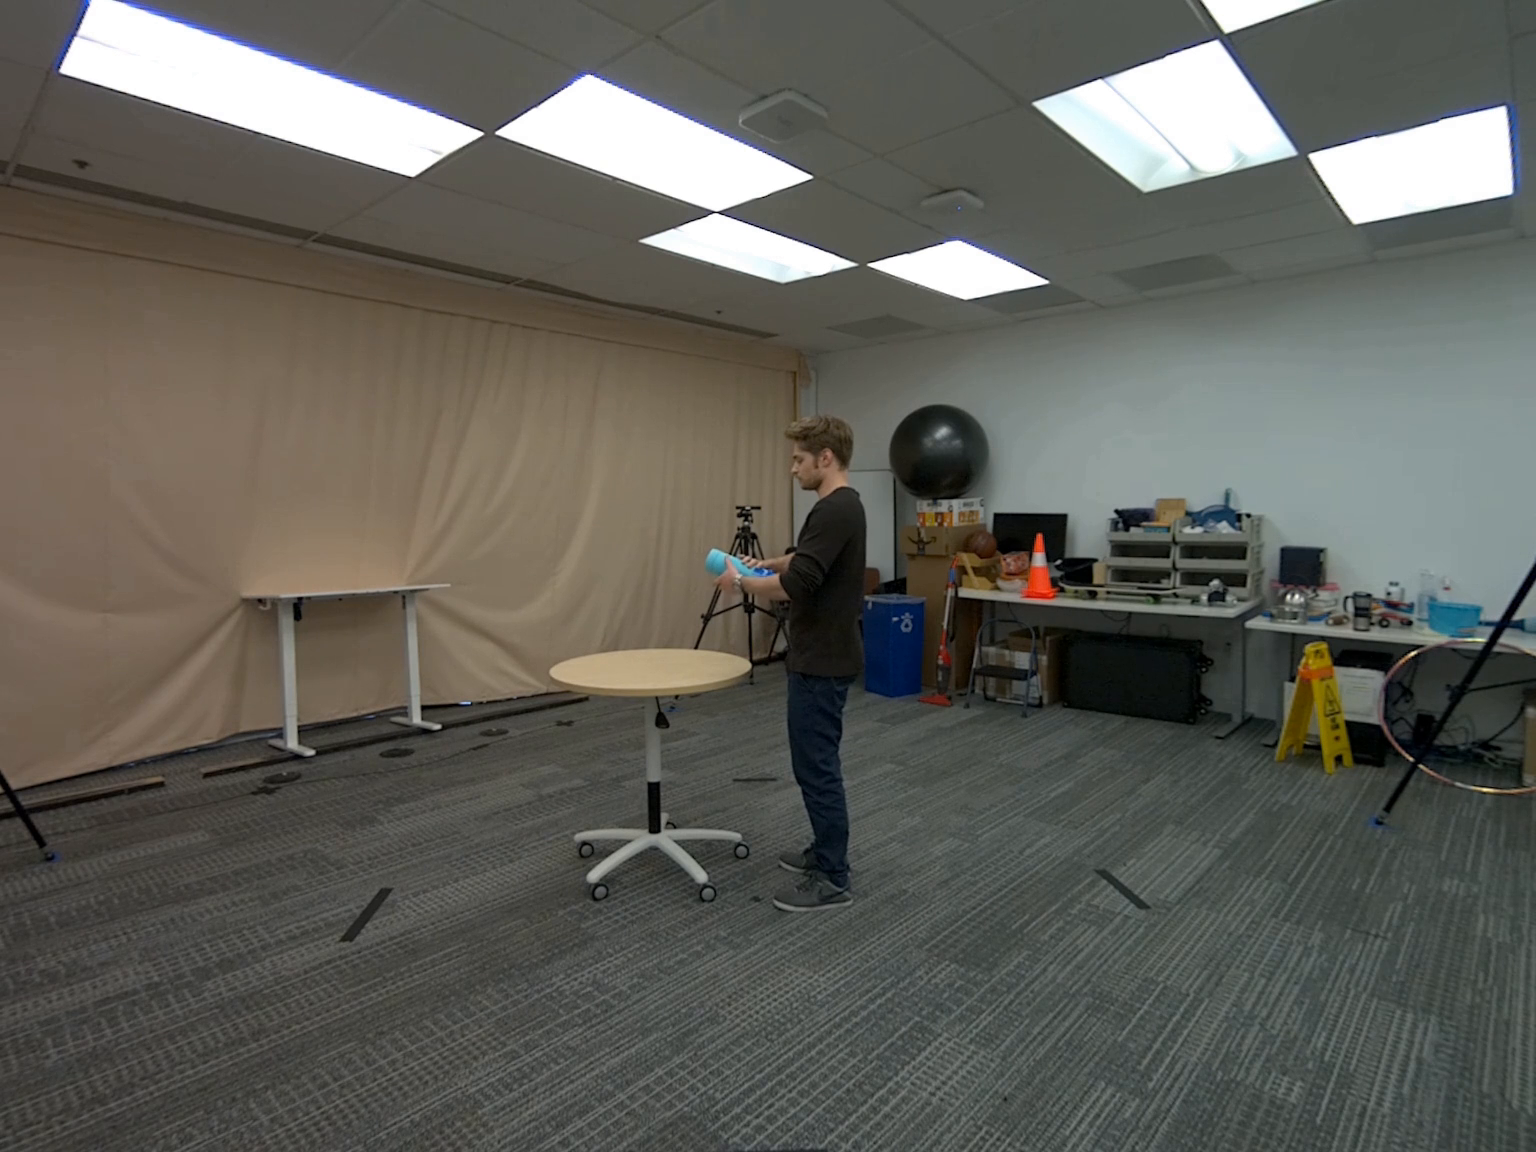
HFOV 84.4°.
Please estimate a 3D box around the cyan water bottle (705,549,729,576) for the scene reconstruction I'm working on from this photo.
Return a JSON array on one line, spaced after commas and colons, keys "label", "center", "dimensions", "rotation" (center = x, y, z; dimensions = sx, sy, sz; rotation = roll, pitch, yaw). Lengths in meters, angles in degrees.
[{"label": "cyan water bottle", "center": [-0.082, -0.009, 3.083], "dimensions": [0.286, 0.092, 0.091], "rotation": [22, 6, 8]}]
